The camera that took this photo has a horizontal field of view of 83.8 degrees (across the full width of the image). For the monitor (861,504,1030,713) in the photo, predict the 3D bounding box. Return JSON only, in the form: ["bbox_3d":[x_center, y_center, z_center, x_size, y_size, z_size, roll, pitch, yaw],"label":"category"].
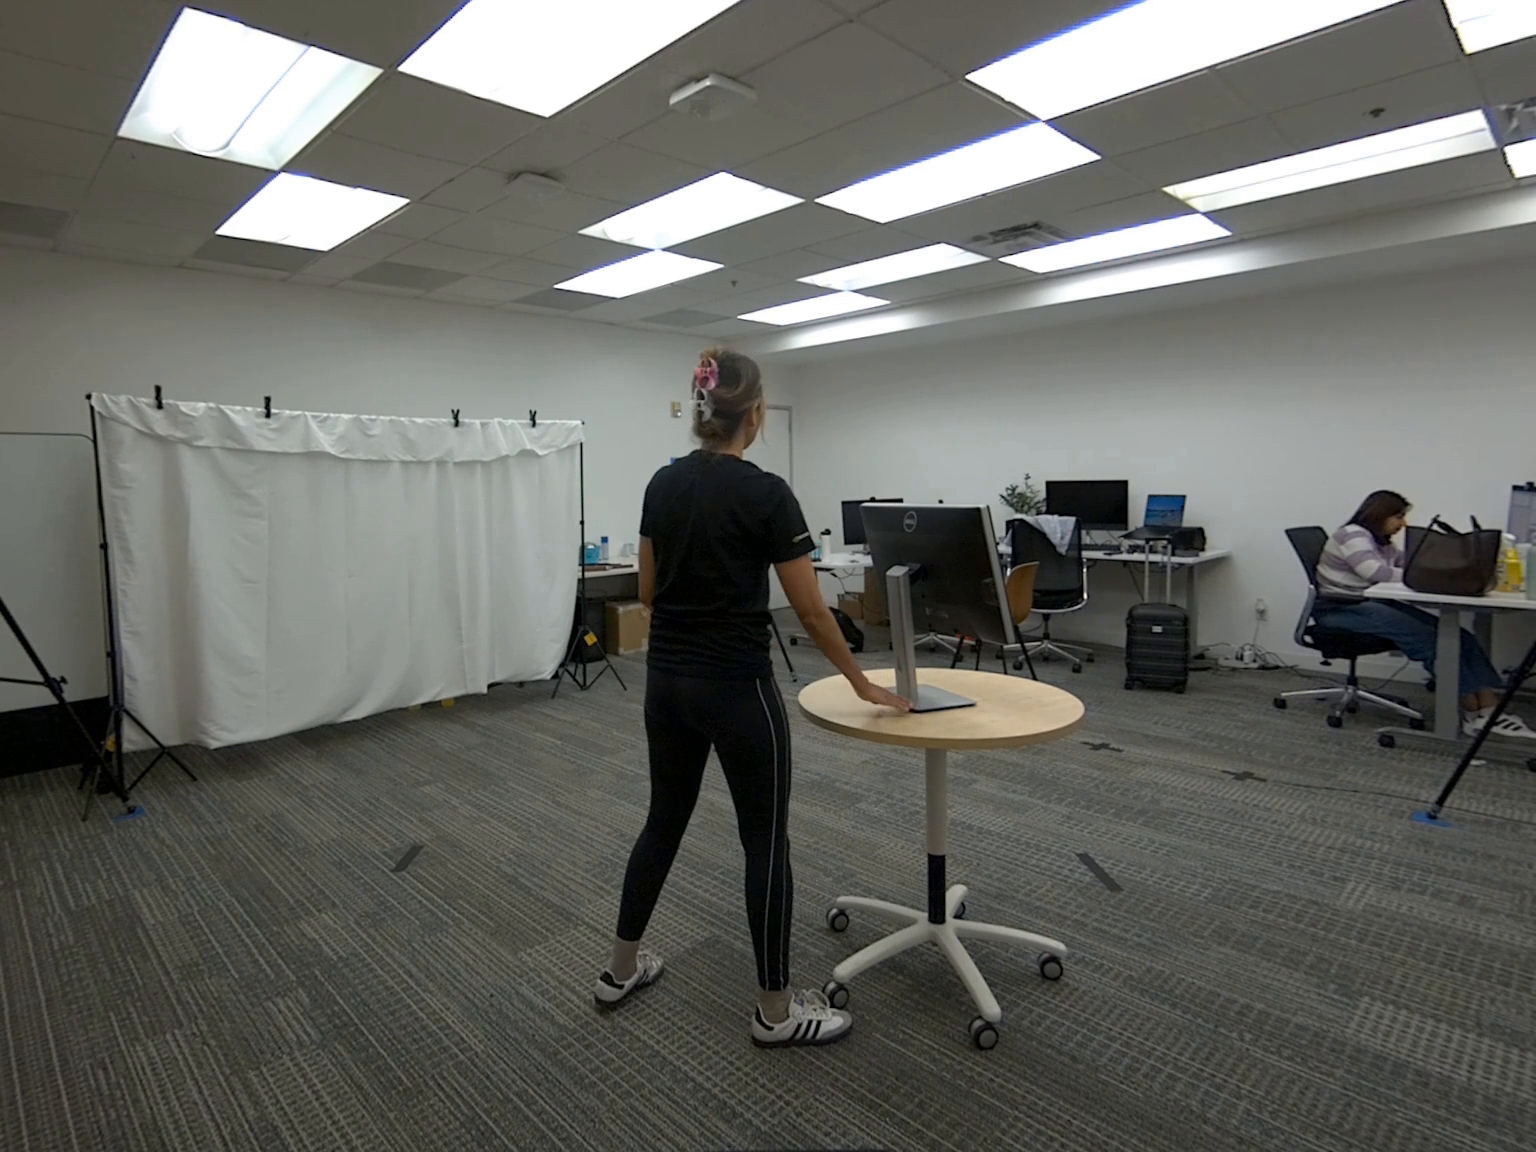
[{"bbox_3d":[0.423,0.076,2.351,0.183,0.521,0.553,-3,5,-27],"label":"monitor"}]
